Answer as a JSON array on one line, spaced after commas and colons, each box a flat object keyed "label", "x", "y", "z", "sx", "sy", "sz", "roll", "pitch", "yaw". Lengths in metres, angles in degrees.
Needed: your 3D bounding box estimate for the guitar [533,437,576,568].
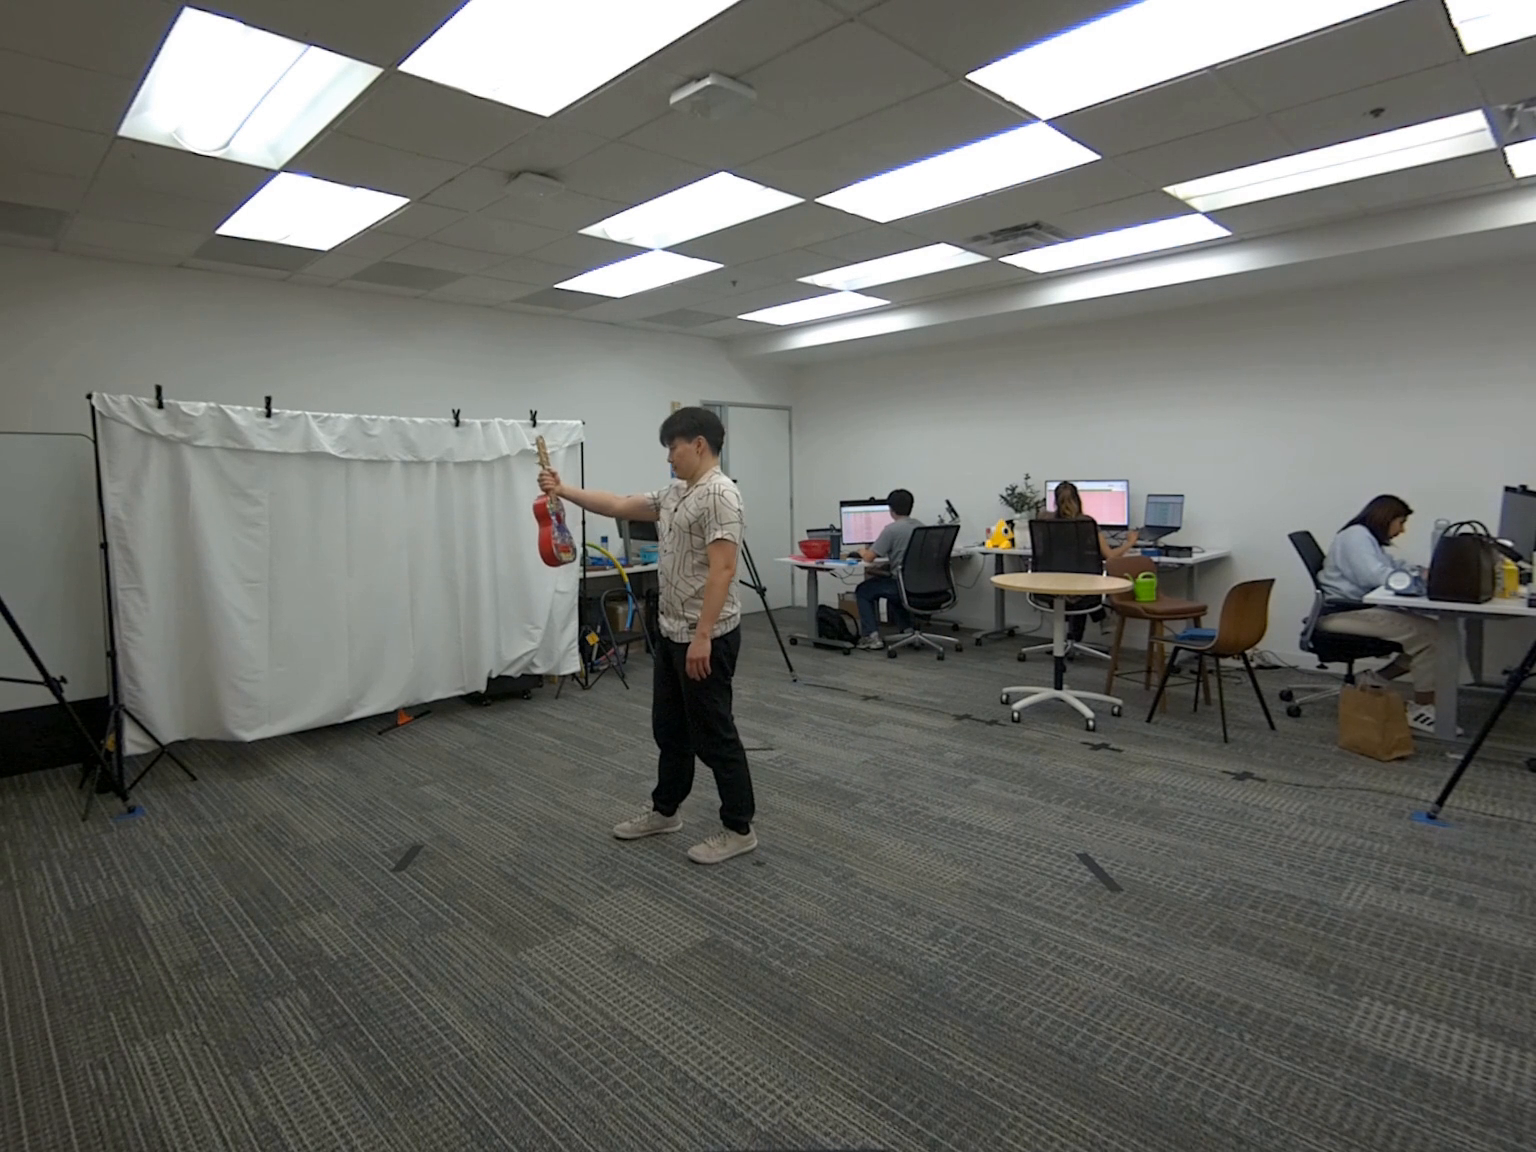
[{"label": "guitar", "x": -0.820, "y": -0.282, "z": 3.257, "sx": 0.071, "sy": 0.504, "sz": 0.189, "roll": -14, "pitch": -12, "yaw": 12}]
